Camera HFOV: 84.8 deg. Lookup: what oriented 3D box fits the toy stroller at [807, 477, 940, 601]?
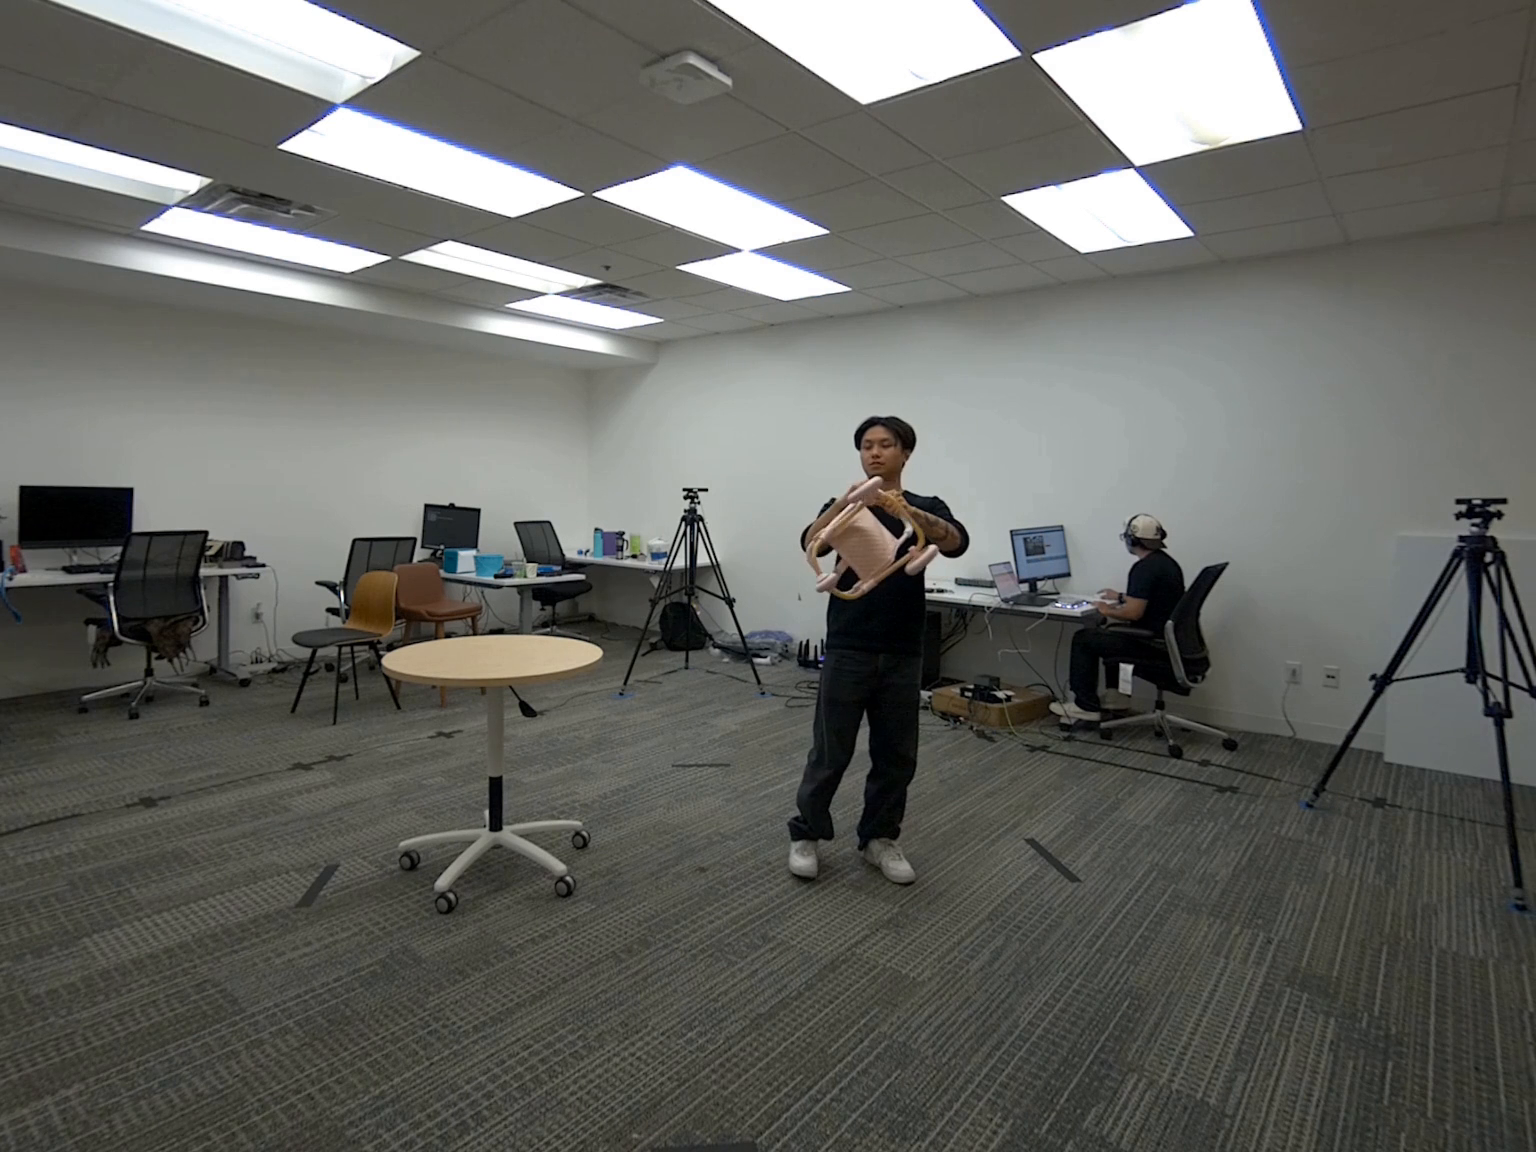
[{"bbox_3d":[0.268,-0.086,2.534,0.341,0.282,0.534,-44,1,8],"label":"toy stroller"}]
